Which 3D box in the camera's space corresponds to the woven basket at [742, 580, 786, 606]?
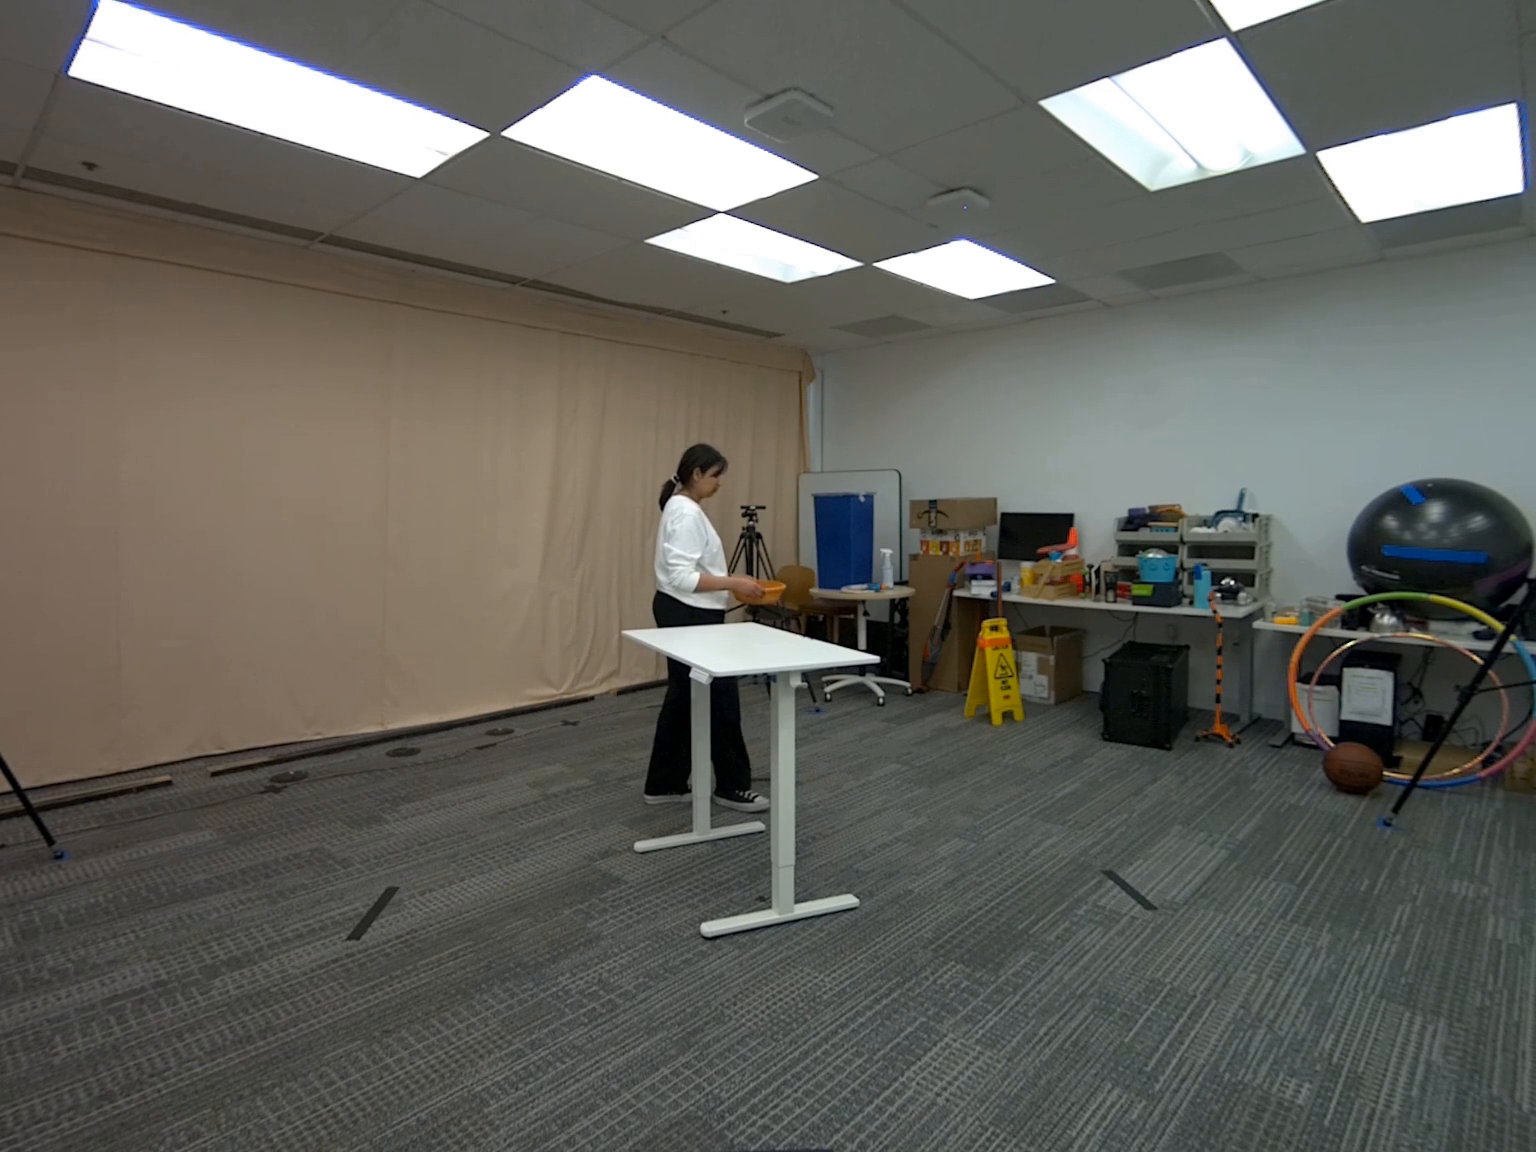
[{"bbox_3d":[-0.063,0.079,3.998,0.248,0.073,0.357,-4,8,-16],"label":"woven basket"}]
